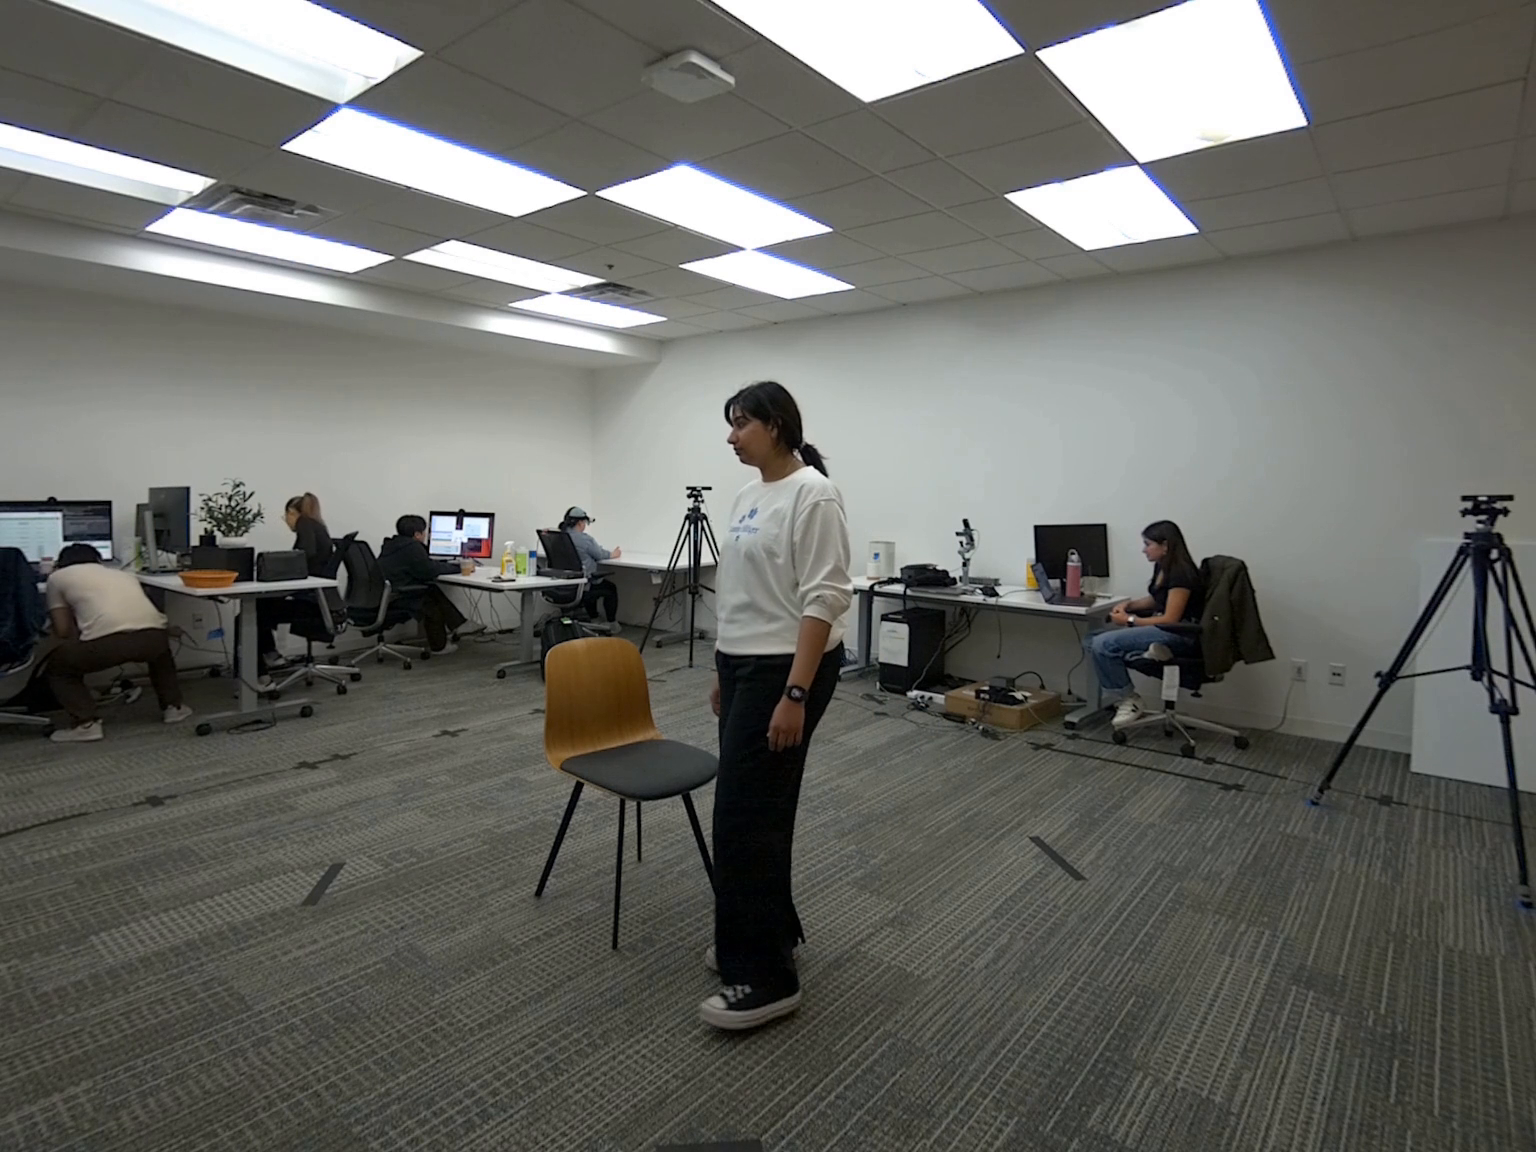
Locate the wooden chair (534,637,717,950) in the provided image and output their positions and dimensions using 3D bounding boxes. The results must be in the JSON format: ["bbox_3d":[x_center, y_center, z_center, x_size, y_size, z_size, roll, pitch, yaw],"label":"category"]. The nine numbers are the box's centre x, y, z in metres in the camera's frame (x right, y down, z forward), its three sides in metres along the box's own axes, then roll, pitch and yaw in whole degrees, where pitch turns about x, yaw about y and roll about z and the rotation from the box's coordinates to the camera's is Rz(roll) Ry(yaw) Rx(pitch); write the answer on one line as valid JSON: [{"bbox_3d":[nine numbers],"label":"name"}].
[{"bbox_3d":[-0.457,0.660,2.830,0.463,0.878,0.539,-2,0,-44],"label":"wooden chair"}]
